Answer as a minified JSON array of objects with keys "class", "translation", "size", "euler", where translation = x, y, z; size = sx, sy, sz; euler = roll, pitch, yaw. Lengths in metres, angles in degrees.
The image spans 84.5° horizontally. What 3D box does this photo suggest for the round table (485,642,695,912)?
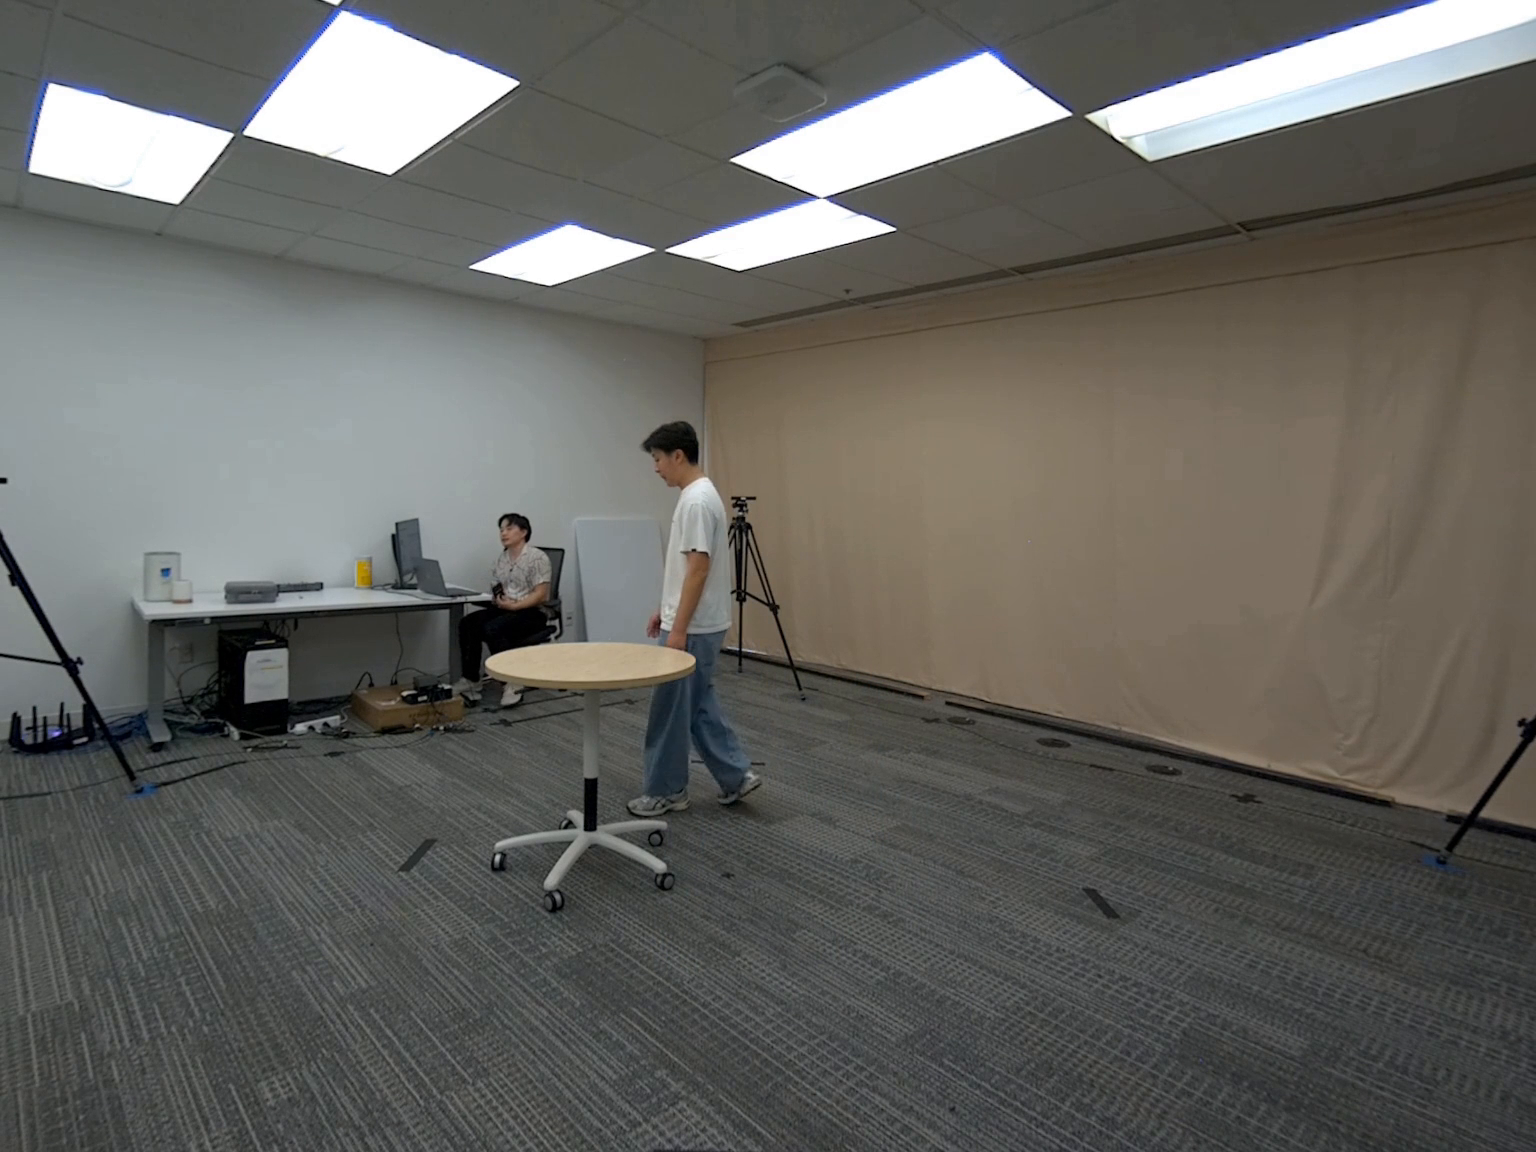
[{"class":"round table","translation":[-0.667,0.699,3.145],"size":[0.784,0.784,0.788],"euler":[1,4,-1]}]
